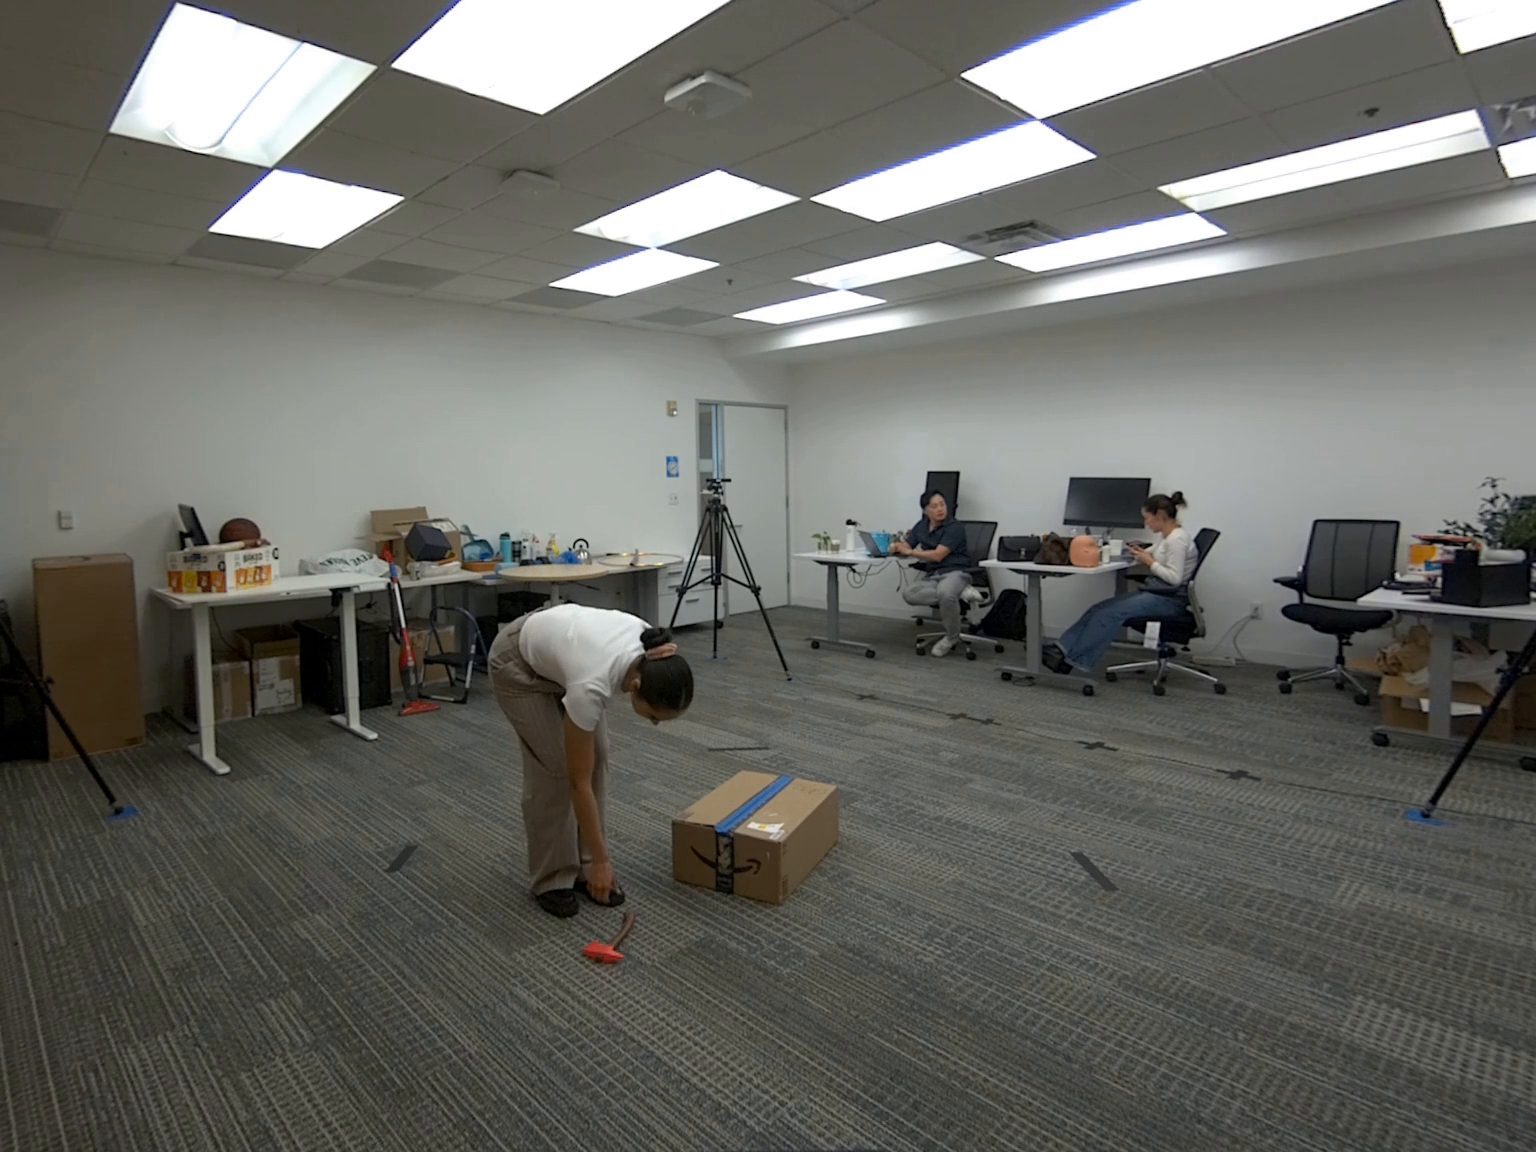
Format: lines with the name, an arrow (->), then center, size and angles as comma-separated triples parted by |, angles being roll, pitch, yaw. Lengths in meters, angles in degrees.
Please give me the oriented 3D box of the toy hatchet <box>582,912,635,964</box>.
toy hatchet -> -0.484, 1.104, 2.608 | 0.131, 0.029, 0.270 | -4, 4, 0
